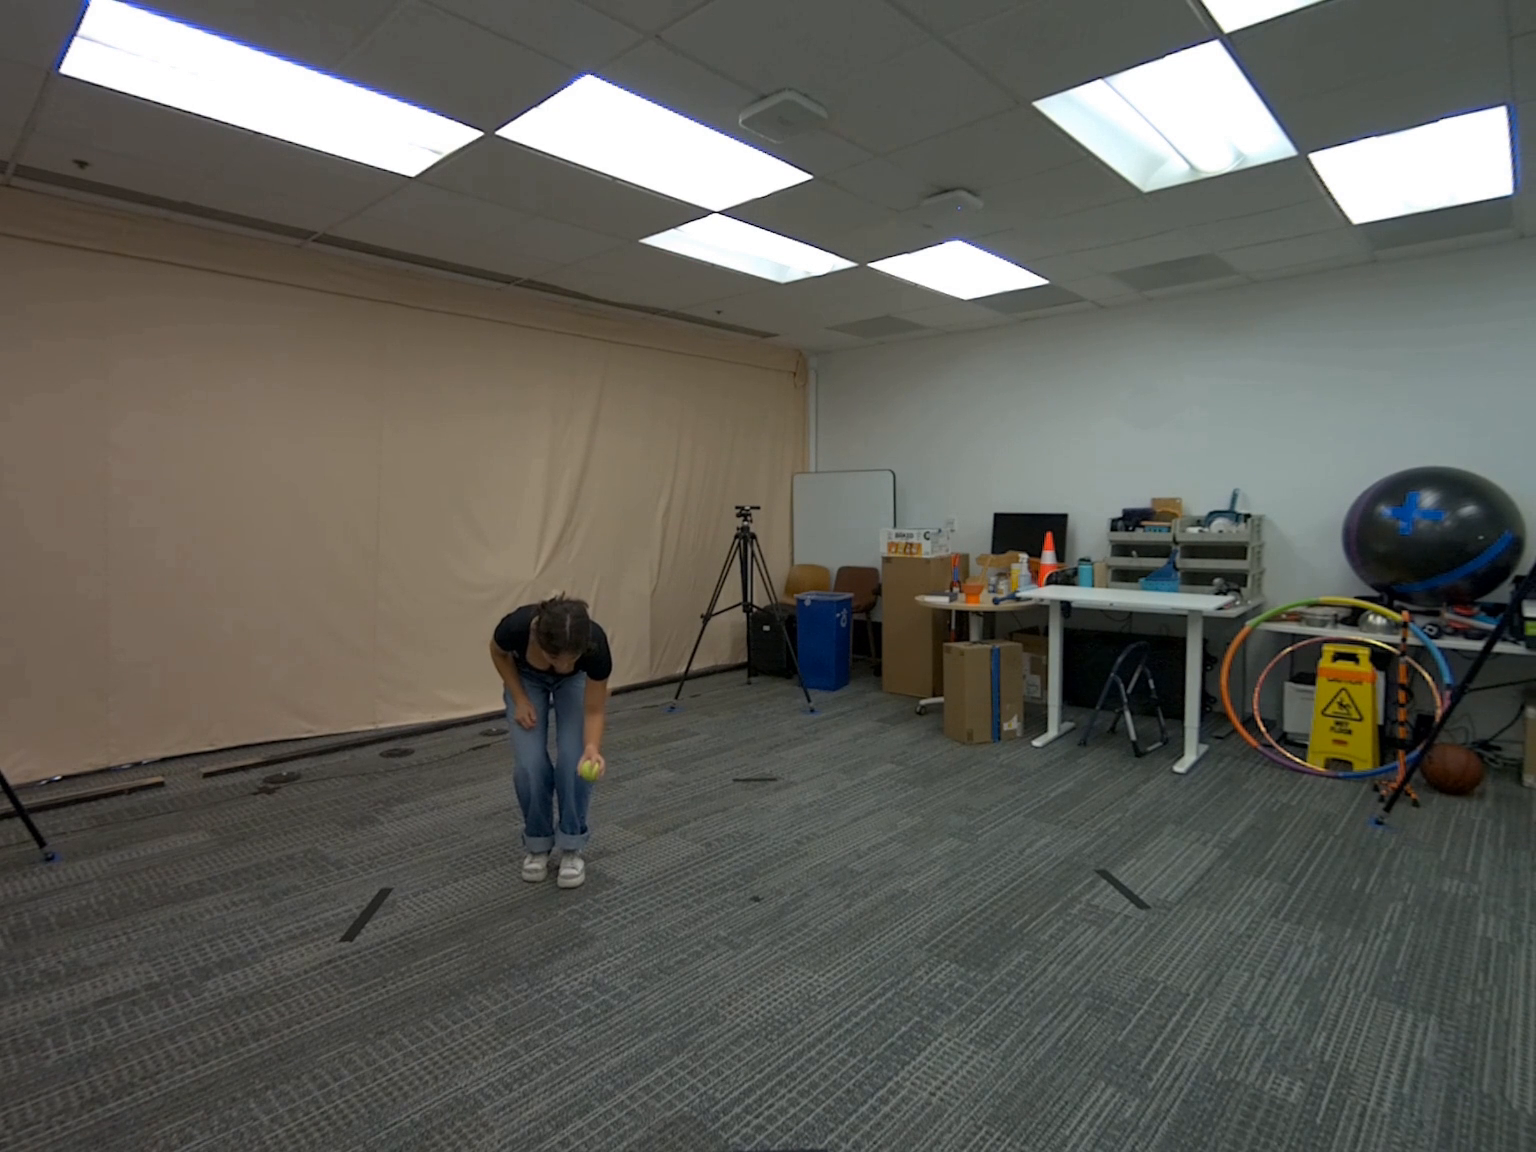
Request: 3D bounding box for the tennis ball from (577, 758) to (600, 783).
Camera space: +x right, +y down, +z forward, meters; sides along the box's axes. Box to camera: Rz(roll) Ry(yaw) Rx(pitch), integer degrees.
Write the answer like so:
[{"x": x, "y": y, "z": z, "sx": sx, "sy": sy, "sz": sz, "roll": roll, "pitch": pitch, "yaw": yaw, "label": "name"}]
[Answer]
[{"x": -0.589, "y": 0.677, "z": 2.824, "sx": 0.066, "sy": 0.066, "sz": 0.067, "roll": 0, "pitch": 4, "yaw": -2, "label": "tennis ball"}]
